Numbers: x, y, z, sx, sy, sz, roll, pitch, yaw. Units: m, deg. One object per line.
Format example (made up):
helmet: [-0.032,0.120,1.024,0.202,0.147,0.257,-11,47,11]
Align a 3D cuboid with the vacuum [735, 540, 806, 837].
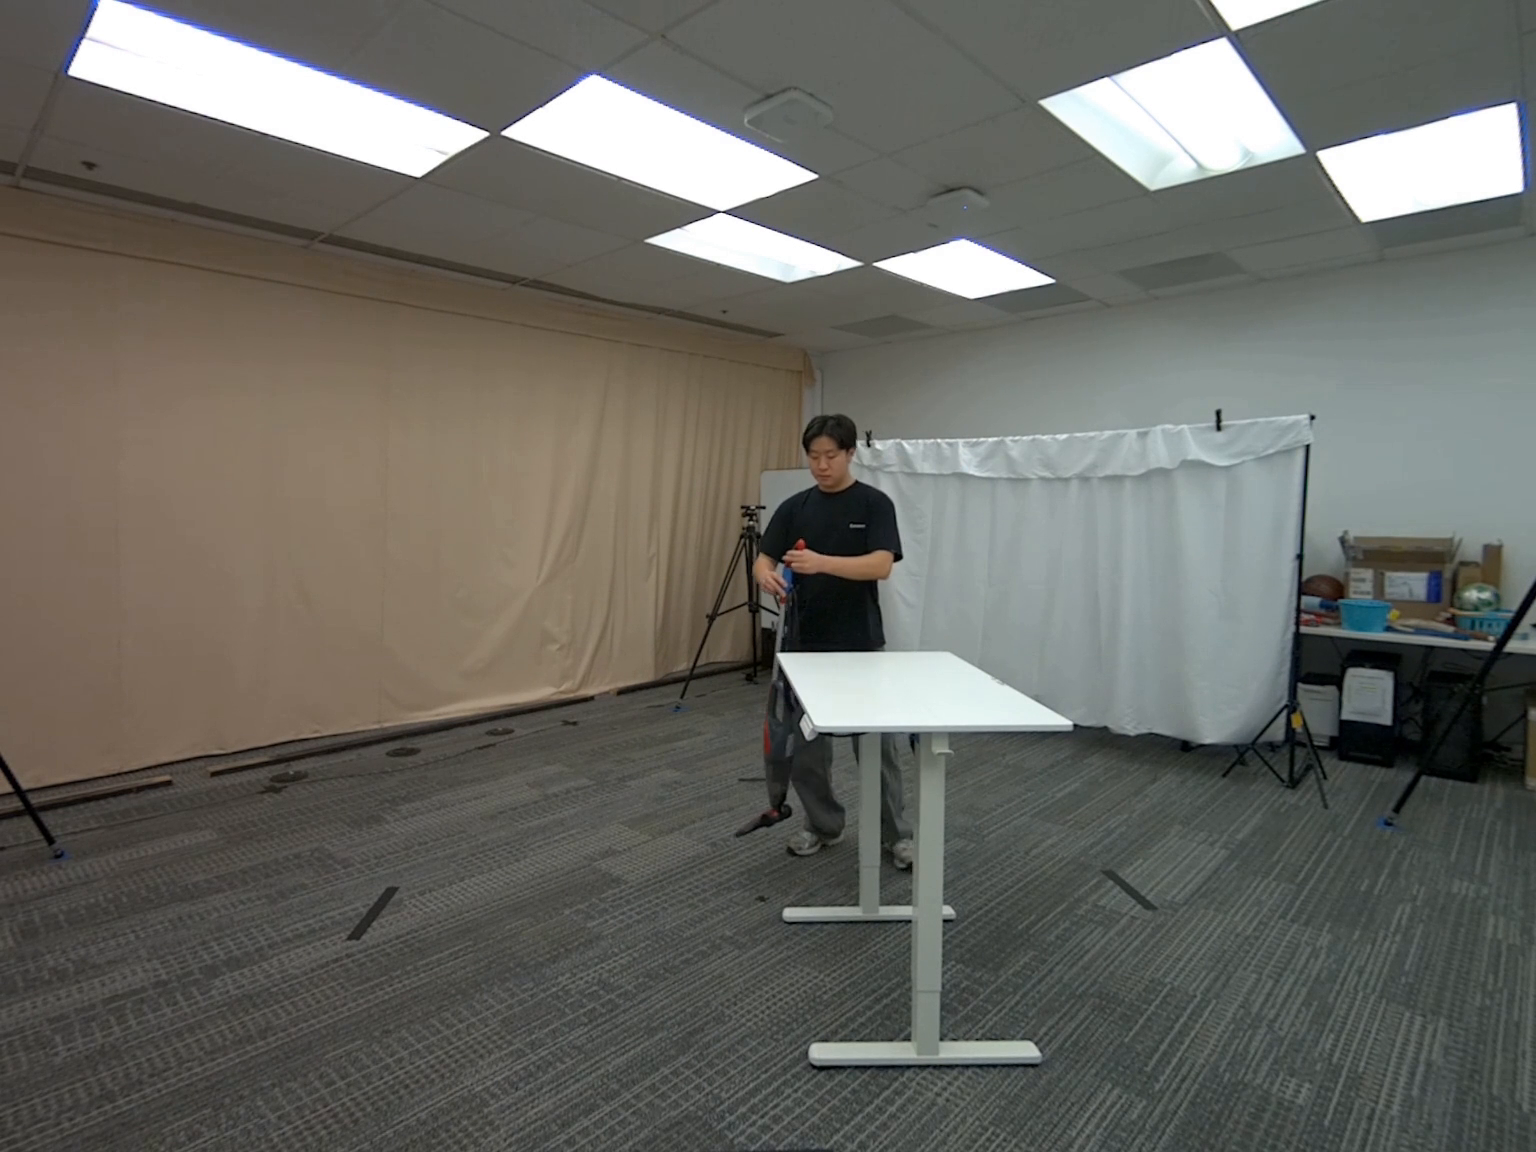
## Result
vacuum: [0.060,0.418,3.052,0.149,1.044,0.245,13,11,39]
